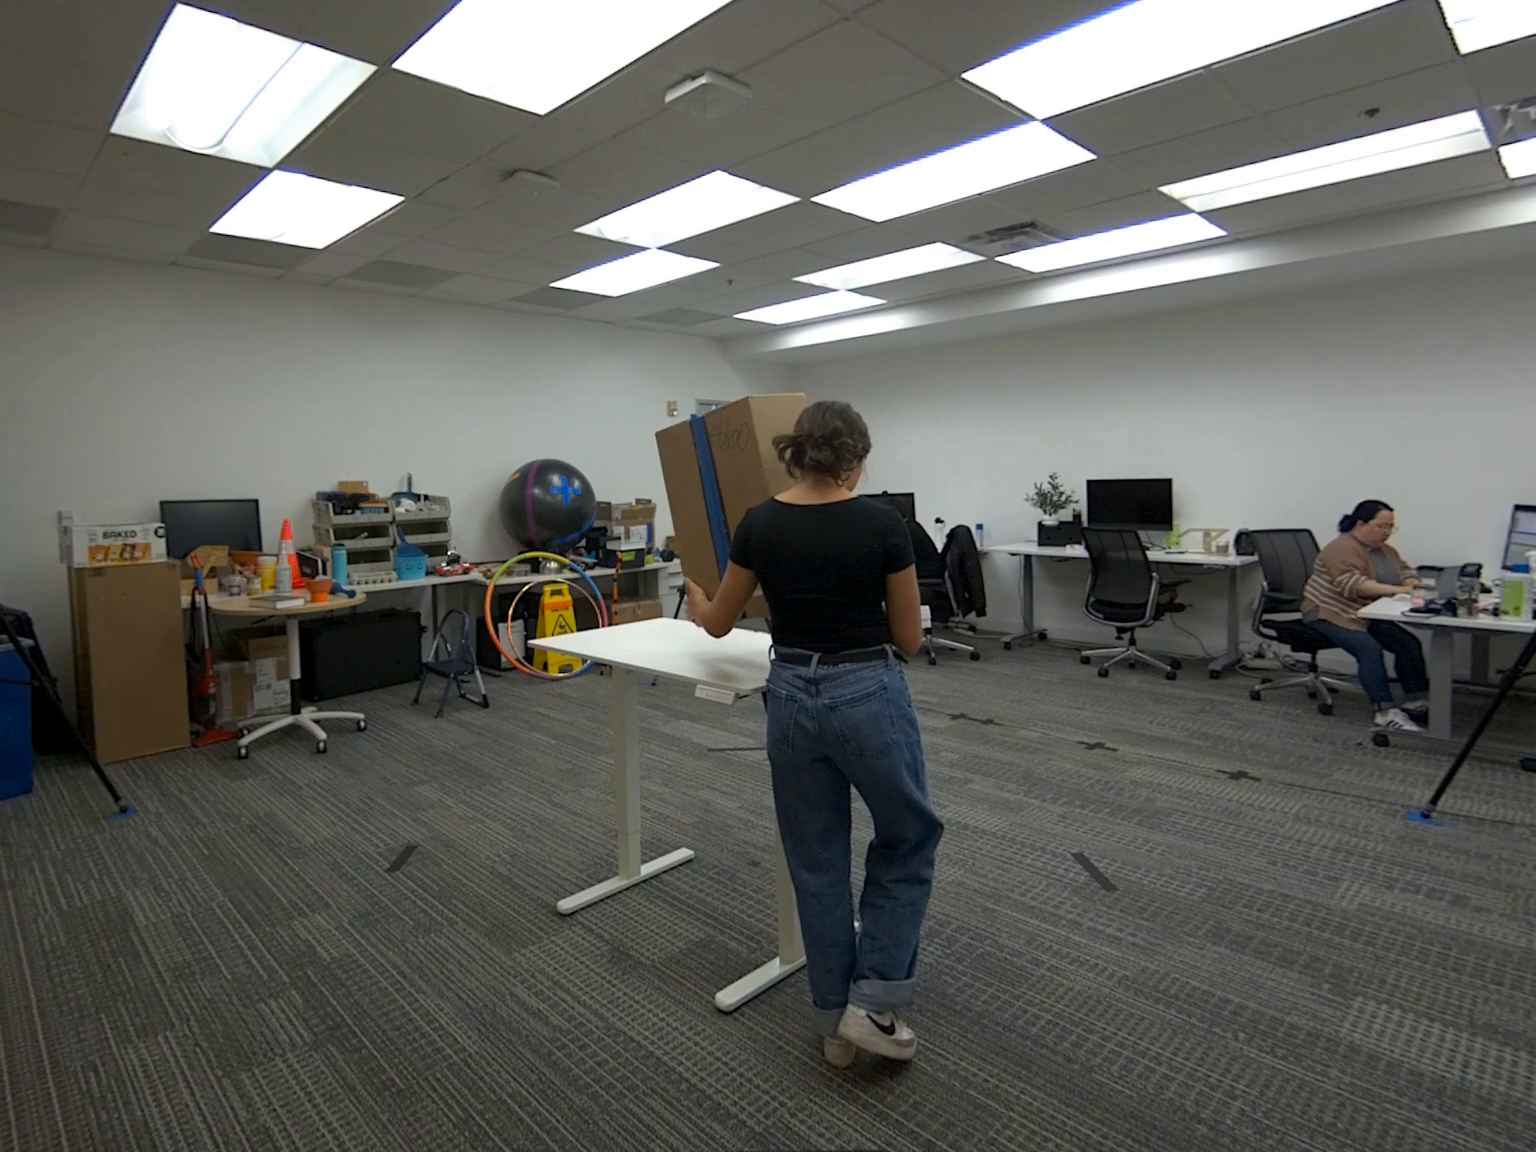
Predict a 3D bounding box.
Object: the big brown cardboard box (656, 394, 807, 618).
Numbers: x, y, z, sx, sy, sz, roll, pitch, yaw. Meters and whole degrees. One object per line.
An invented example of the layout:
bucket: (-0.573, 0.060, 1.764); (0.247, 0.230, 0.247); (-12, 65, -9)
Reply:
big brown cardboard box: (-0.054, -0.174, 2.373); (0.227, 0.590, 0.427); (-9, -2, -42)
